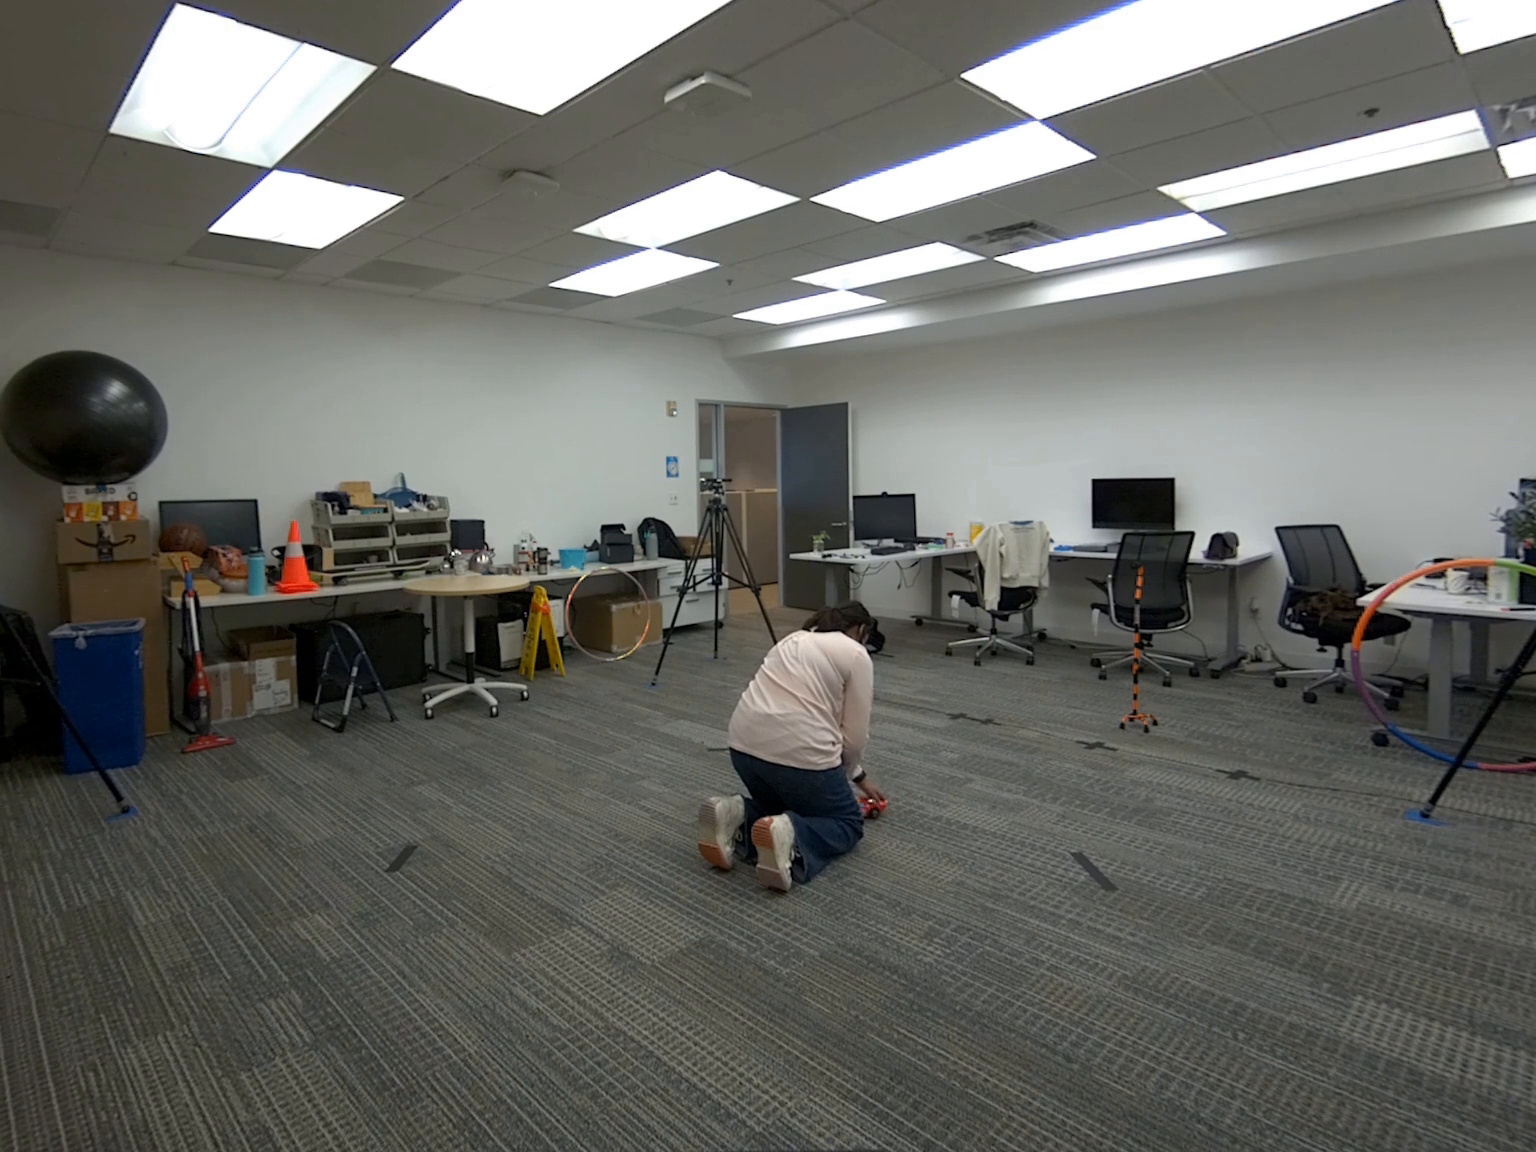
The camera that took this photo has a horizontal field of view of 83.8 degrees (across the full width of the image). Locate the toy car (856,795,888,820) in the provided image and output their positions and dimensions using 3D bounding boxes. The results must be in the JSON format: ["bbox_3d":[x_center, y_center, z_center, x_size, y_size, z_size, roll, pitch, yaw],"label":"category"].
[{"bbox_3d":[0.370,0.959,3.522,0.251,0.083,0.133,-12,7,-17],"label":"toy car"}]
